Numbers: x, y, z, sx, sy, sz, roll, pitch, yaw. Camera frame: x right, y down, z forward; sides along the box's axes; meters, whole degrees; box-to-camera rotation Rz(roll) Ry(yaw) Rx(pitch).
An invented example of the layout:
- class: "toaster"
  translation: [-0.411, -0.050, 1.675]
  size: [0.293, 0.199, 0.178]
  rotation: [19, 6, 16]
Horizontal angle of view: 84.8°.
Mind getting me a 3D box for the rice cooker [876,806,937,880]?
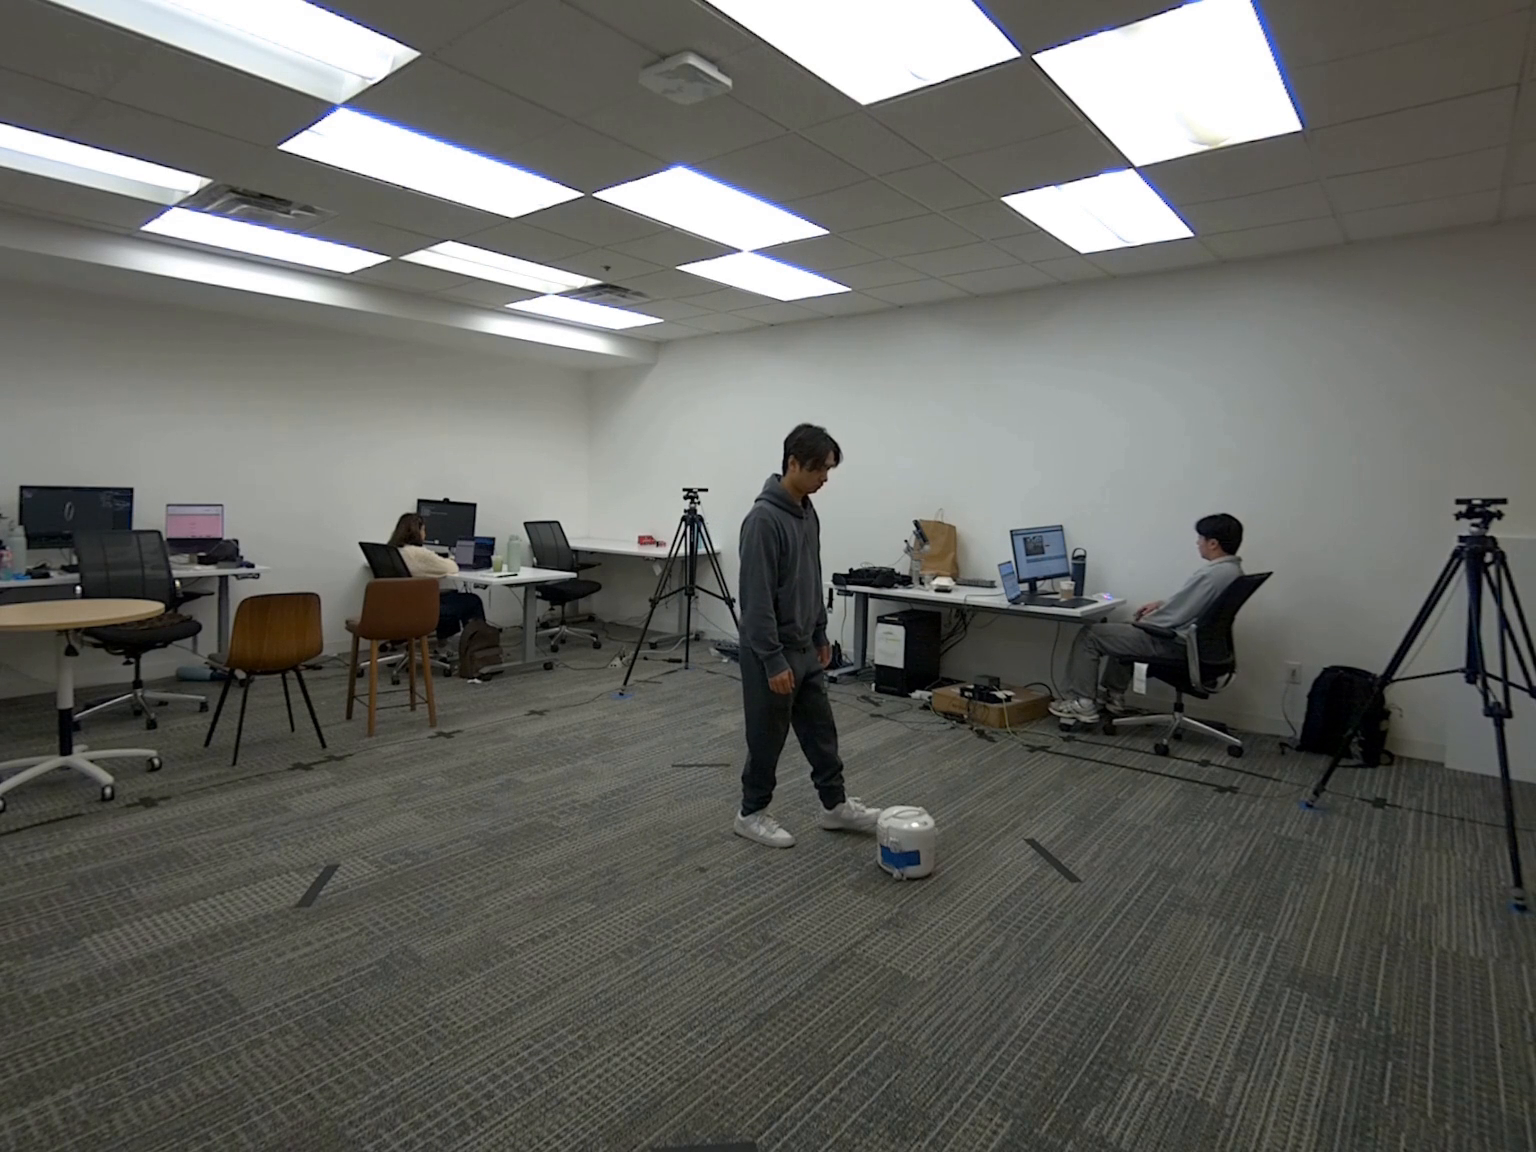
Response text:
- class: "rice cooker"
  translation: [0.505, 0.966, 3.153]
  size: [0.216, 0.232, 0.223]
  rotation: [0, 6, -20]
